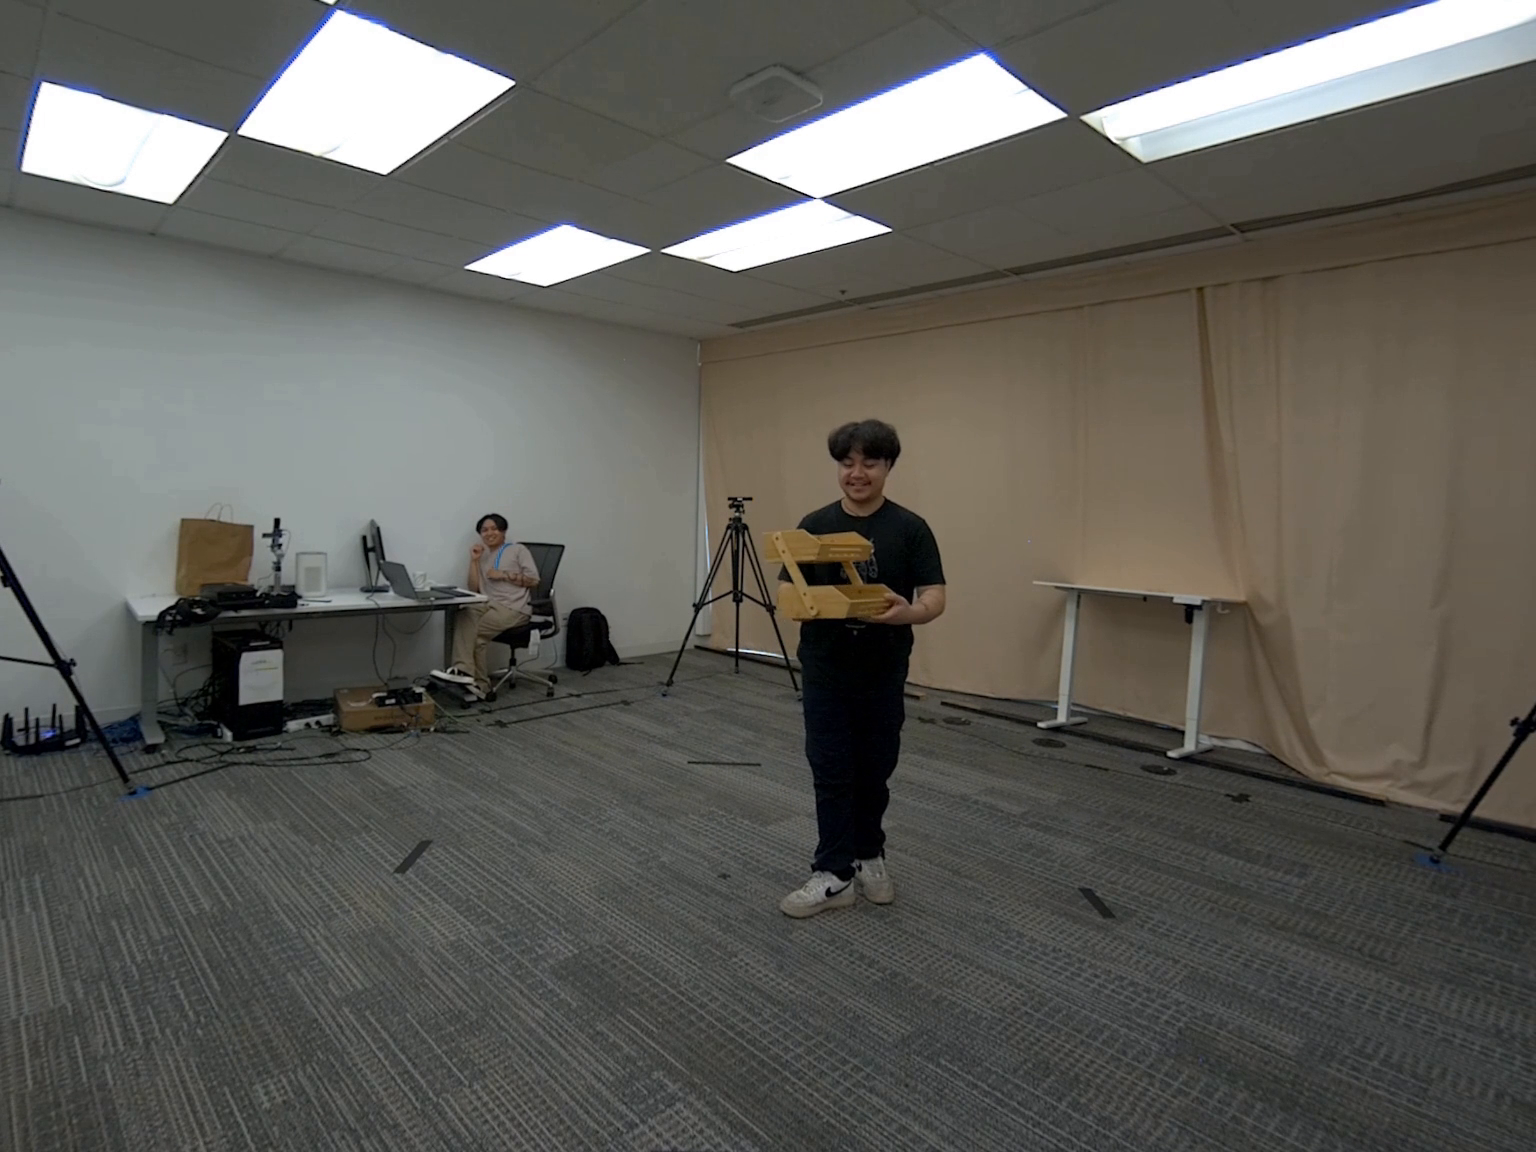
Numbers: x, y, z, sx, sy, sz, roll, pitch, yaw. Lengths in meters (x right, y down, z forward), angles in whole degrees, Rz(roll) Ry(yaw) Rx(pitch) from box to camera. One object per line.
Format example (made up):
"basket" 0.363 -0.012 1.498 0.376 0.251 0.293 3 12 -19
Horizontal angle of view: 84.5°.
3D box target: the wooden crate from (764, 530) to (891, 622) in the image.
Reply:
"wooden crate" 0.194 -0.010 2.569 0.308 0.274 0.317 -5 -4 37
